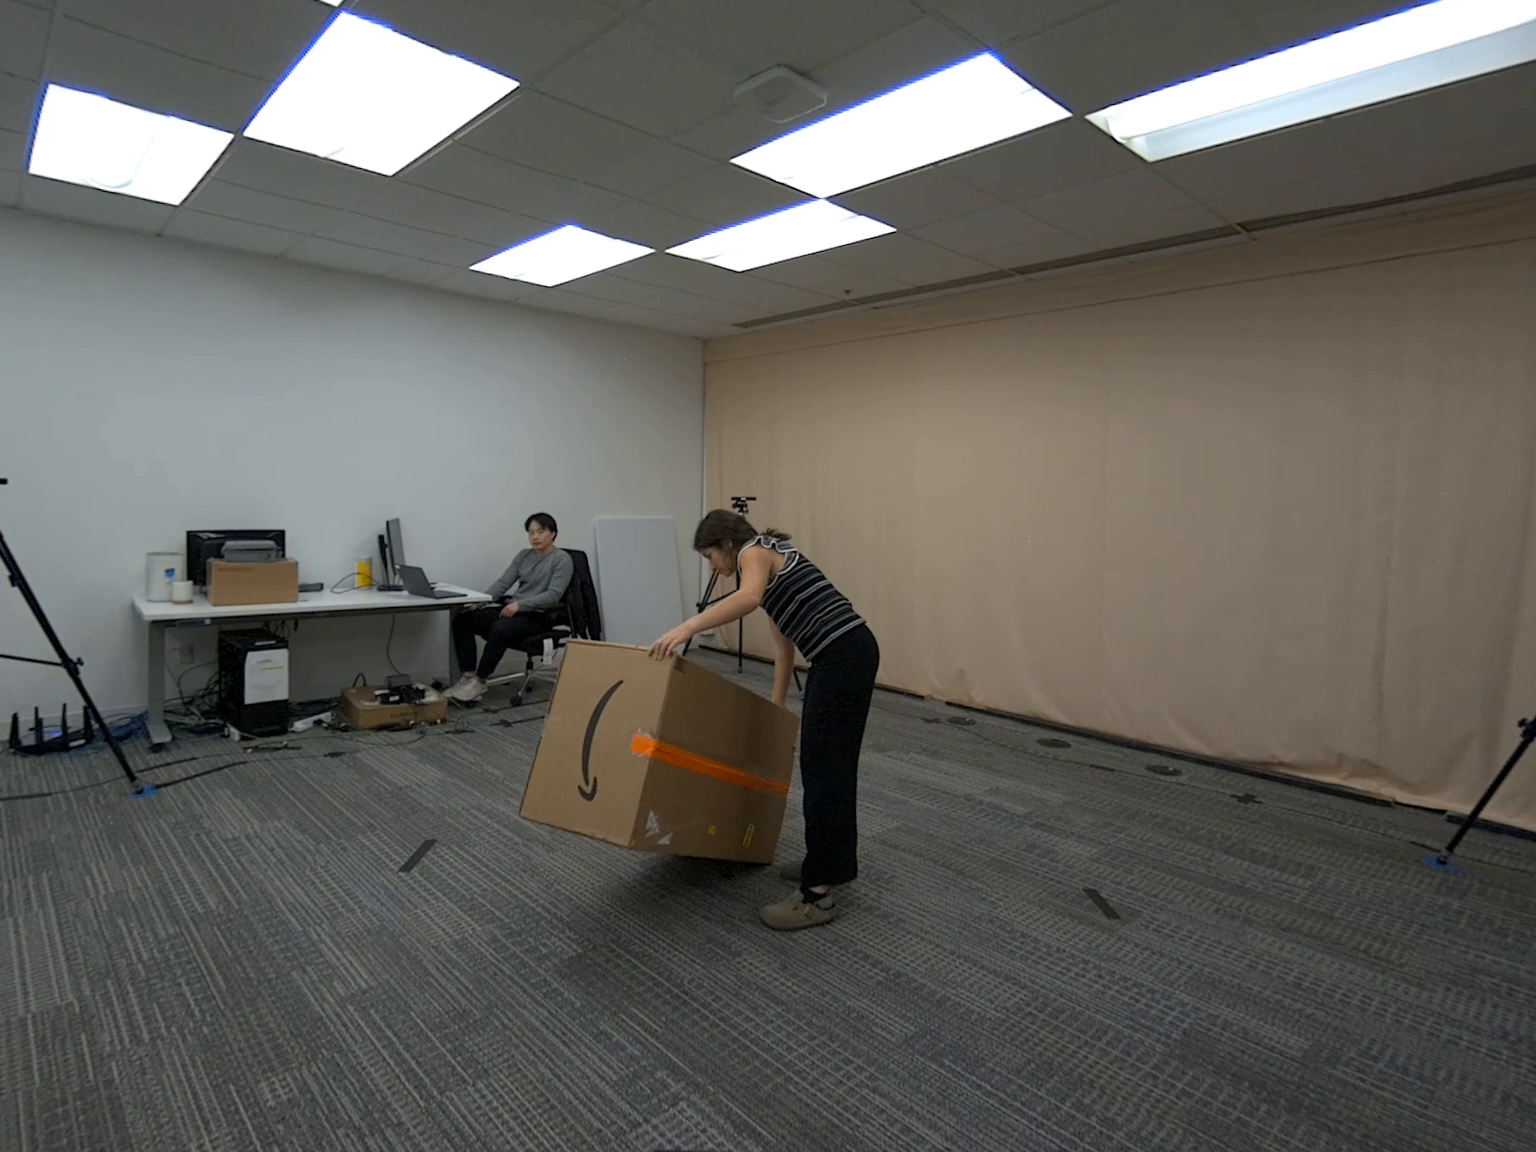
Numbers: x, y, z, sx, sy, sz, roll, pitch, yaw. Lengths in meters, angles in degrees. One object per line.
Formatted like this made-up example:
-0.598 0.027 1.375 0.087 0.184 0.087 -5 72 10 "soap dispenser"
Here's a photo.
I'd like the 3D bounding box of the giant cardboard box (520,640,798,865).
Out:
-0.324 0.658 2.981 0.435 0.582 0.995 4 -17 28 "giant cardboard box"
